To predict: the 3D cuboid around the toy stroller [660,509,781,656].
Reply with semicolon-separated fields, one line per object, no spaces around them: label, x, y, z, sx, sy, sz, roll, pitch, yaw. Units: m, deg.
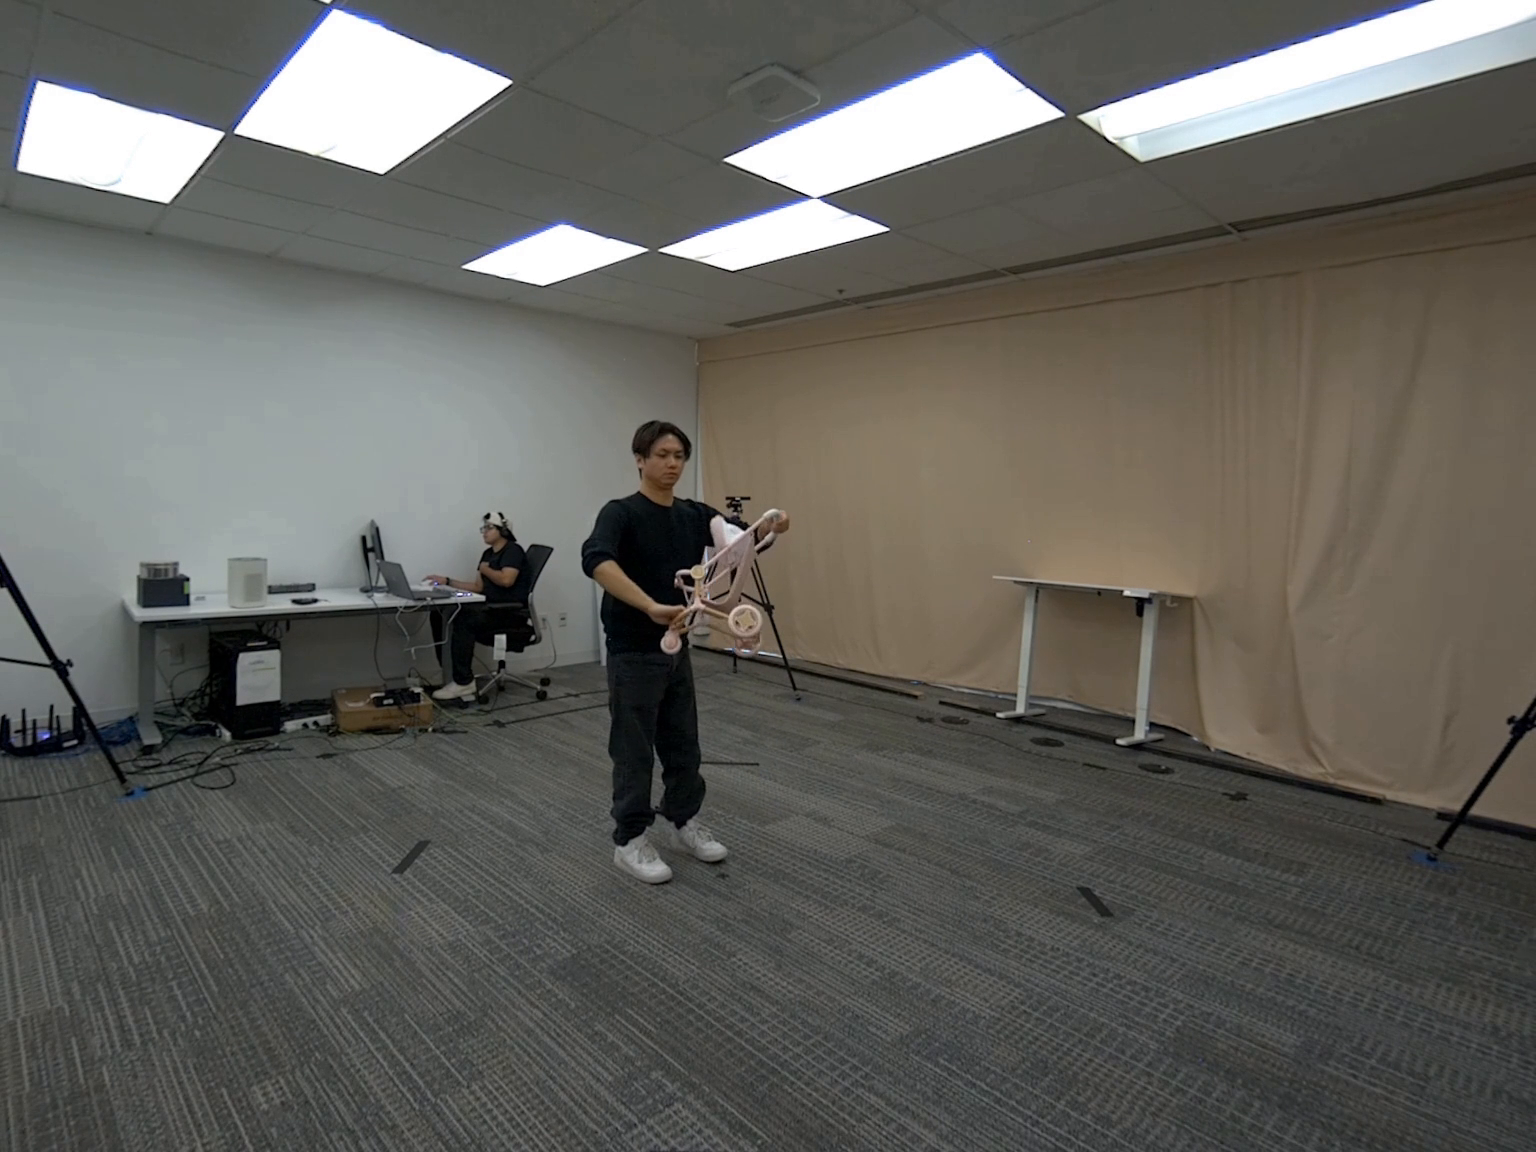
toy stroller;-0.169;0.027;2.875;0.344;0.541;0.276;7;-20;9
